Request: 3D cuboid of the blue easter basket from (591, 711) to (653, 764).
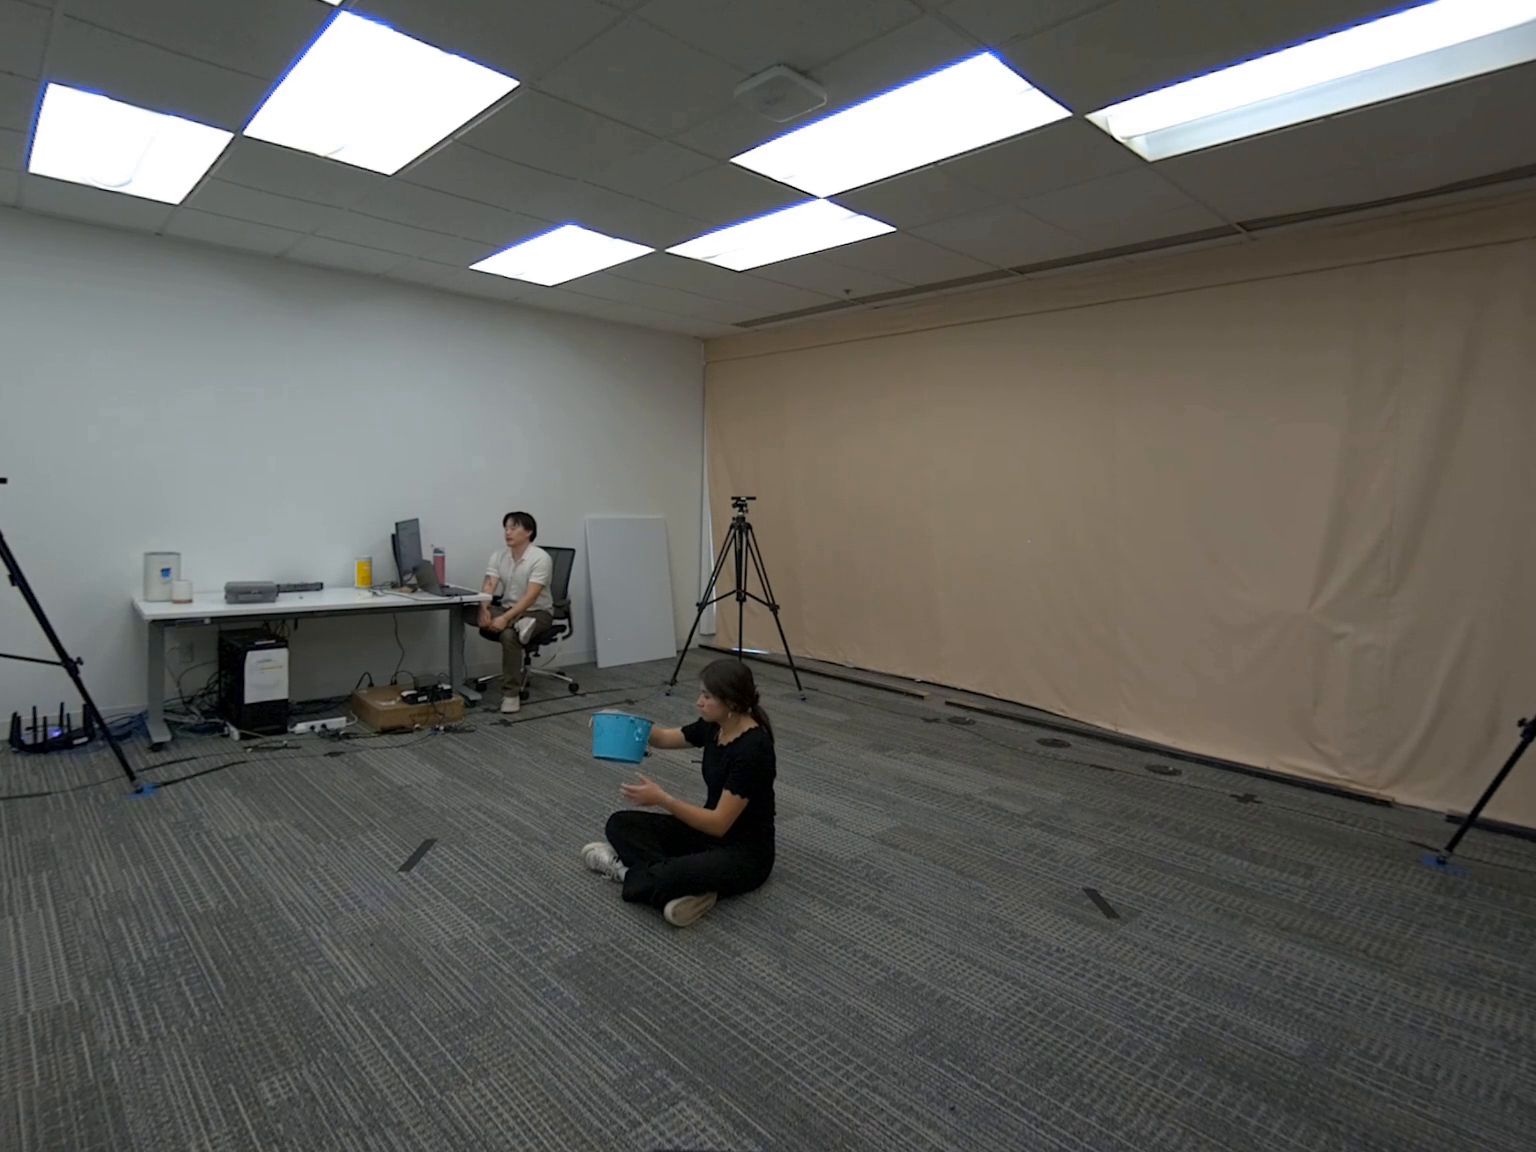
[{"bbox_3d":[-0.537,0.609,3.105,0.244,0.157,0.241,7,-16,1],"label":"blue easter basket"}]
